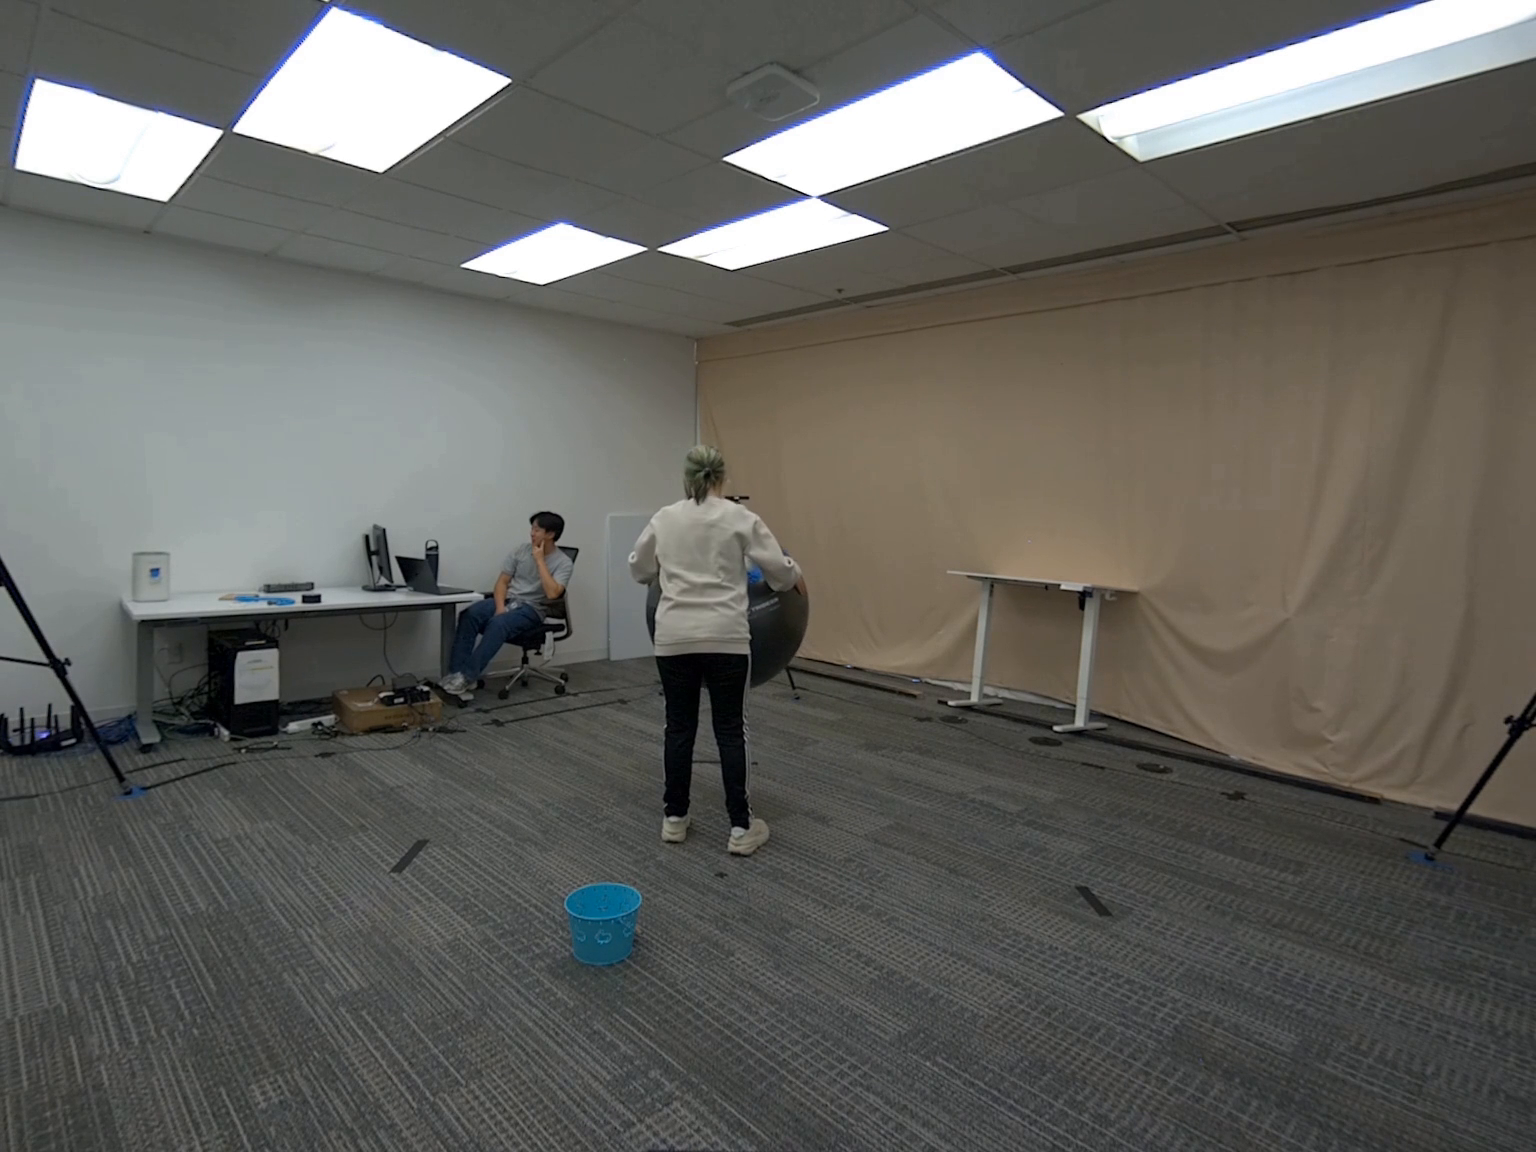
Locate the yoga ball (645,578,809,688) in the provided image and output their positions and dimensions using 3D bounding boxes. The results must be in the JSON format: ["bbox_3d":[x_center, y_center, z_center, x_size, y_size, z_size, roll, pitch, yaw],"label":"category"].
[{"bbox_3d":[-0.195,0.164,3.892,0.757,0.756,0.761,1,4,-1],"label":"yoga ball"}]
